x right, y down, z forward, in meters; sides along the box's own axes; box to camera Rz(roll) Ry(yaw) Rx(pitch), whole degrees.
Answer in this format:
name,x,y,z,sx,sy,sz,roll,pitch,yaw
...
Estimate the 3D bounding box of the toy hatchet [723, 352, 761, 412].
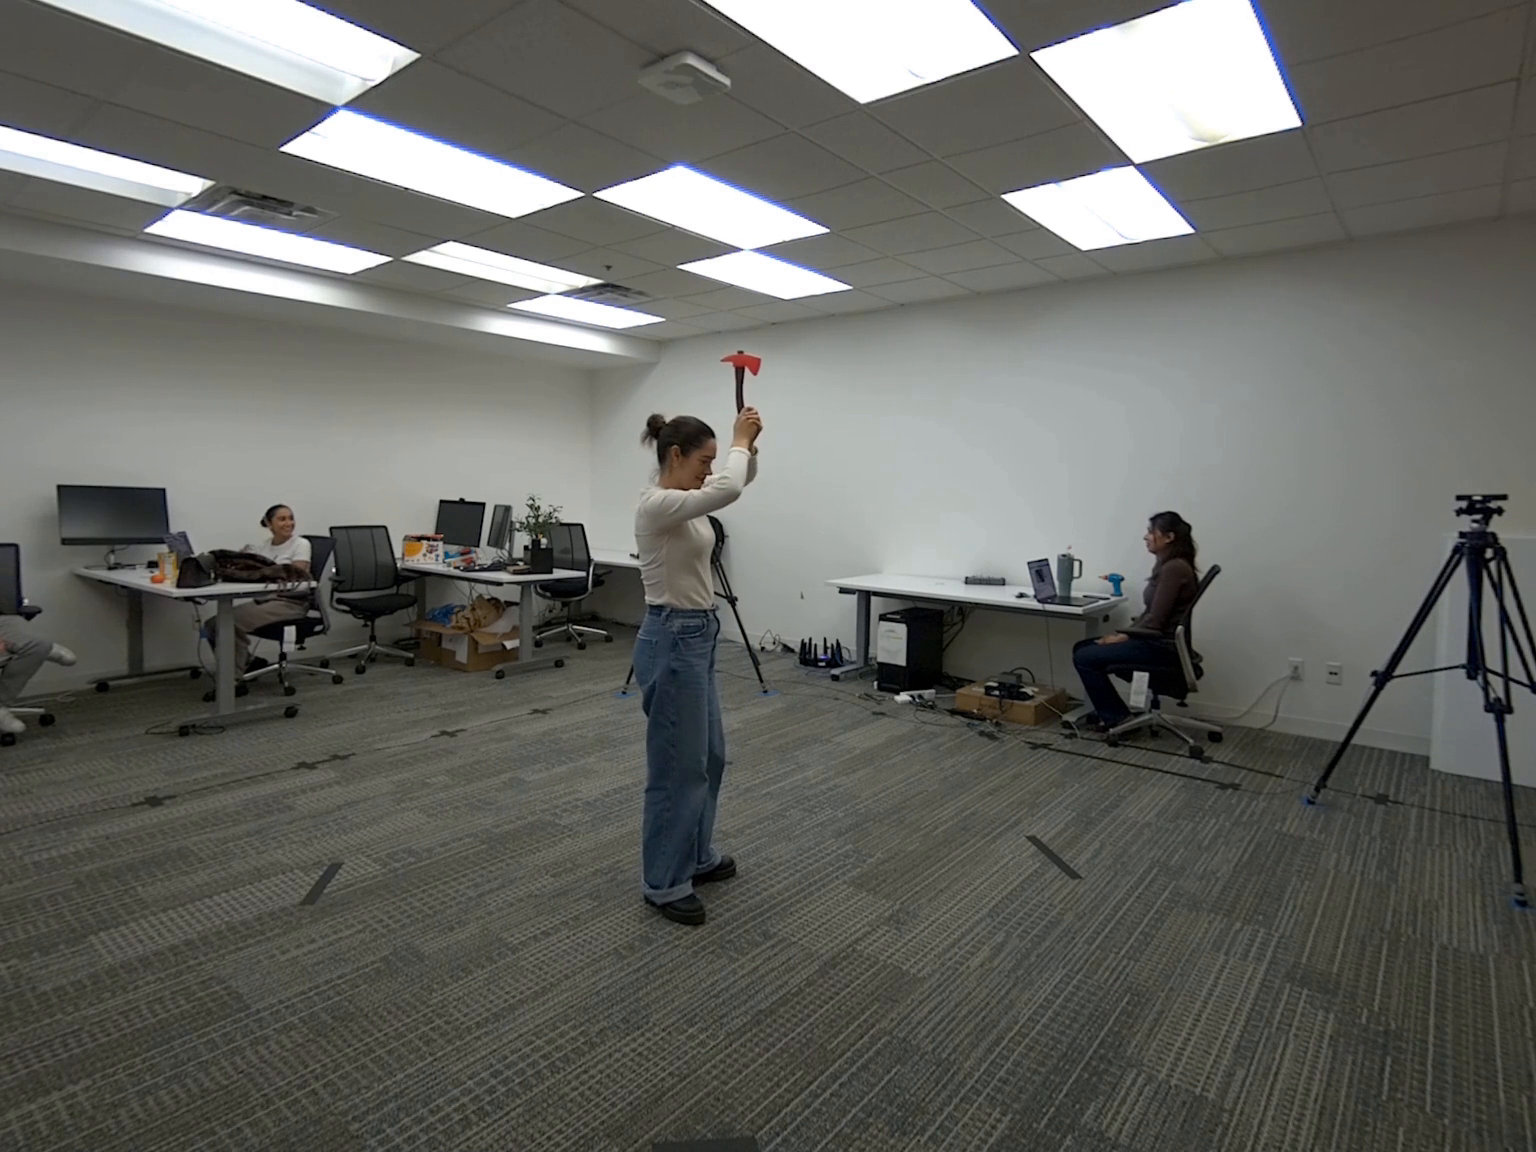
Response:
name,x,y,z,sx,sy,sz,roll,pitch,yaw
toy hatchet,-0.066,-0.602,2.754,0.132,0.270,0.029,-15,1,15
